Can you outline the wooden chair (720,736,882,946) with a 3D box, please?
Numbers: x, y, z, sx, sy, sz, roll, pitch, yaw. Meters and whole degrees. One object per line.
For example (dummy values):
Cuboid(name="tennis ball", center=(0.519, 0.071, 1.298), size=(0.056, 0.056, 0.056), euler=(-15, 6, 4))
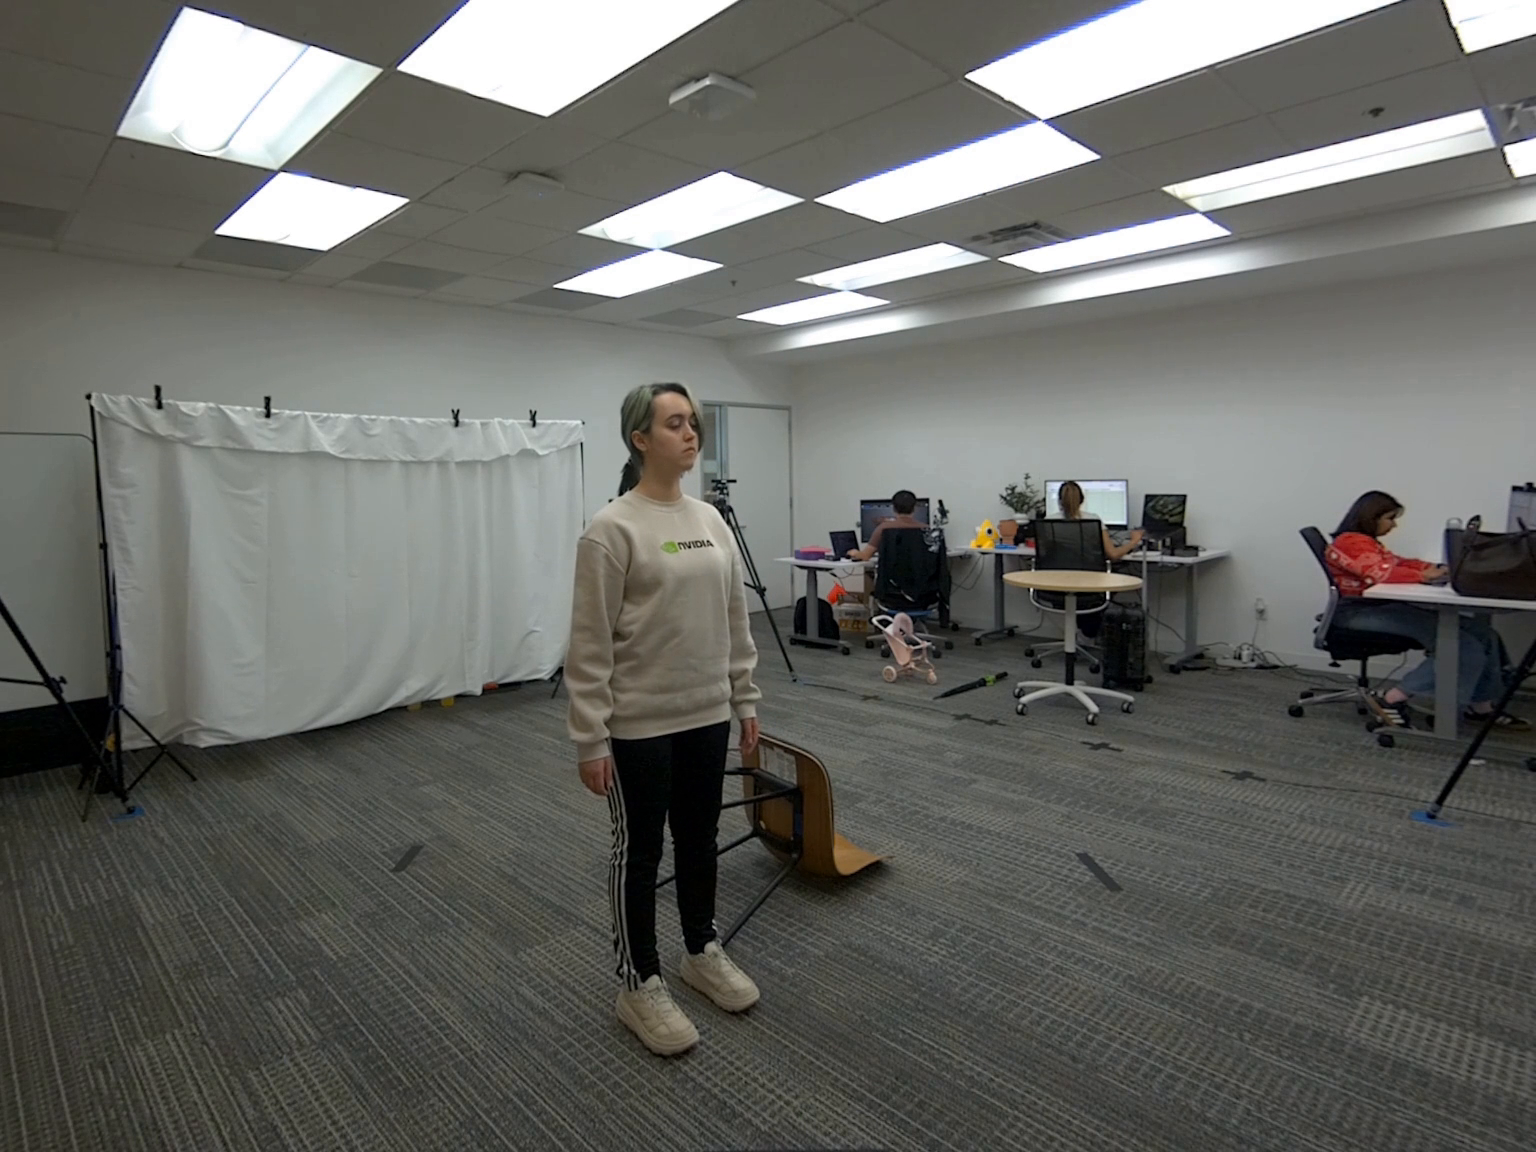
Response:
Cuboid(name="wooden chair", center=(0.029, 0.810, 2.918), size=(0.854, 0.521, 0.492), euler=(-4, 6, -36))
